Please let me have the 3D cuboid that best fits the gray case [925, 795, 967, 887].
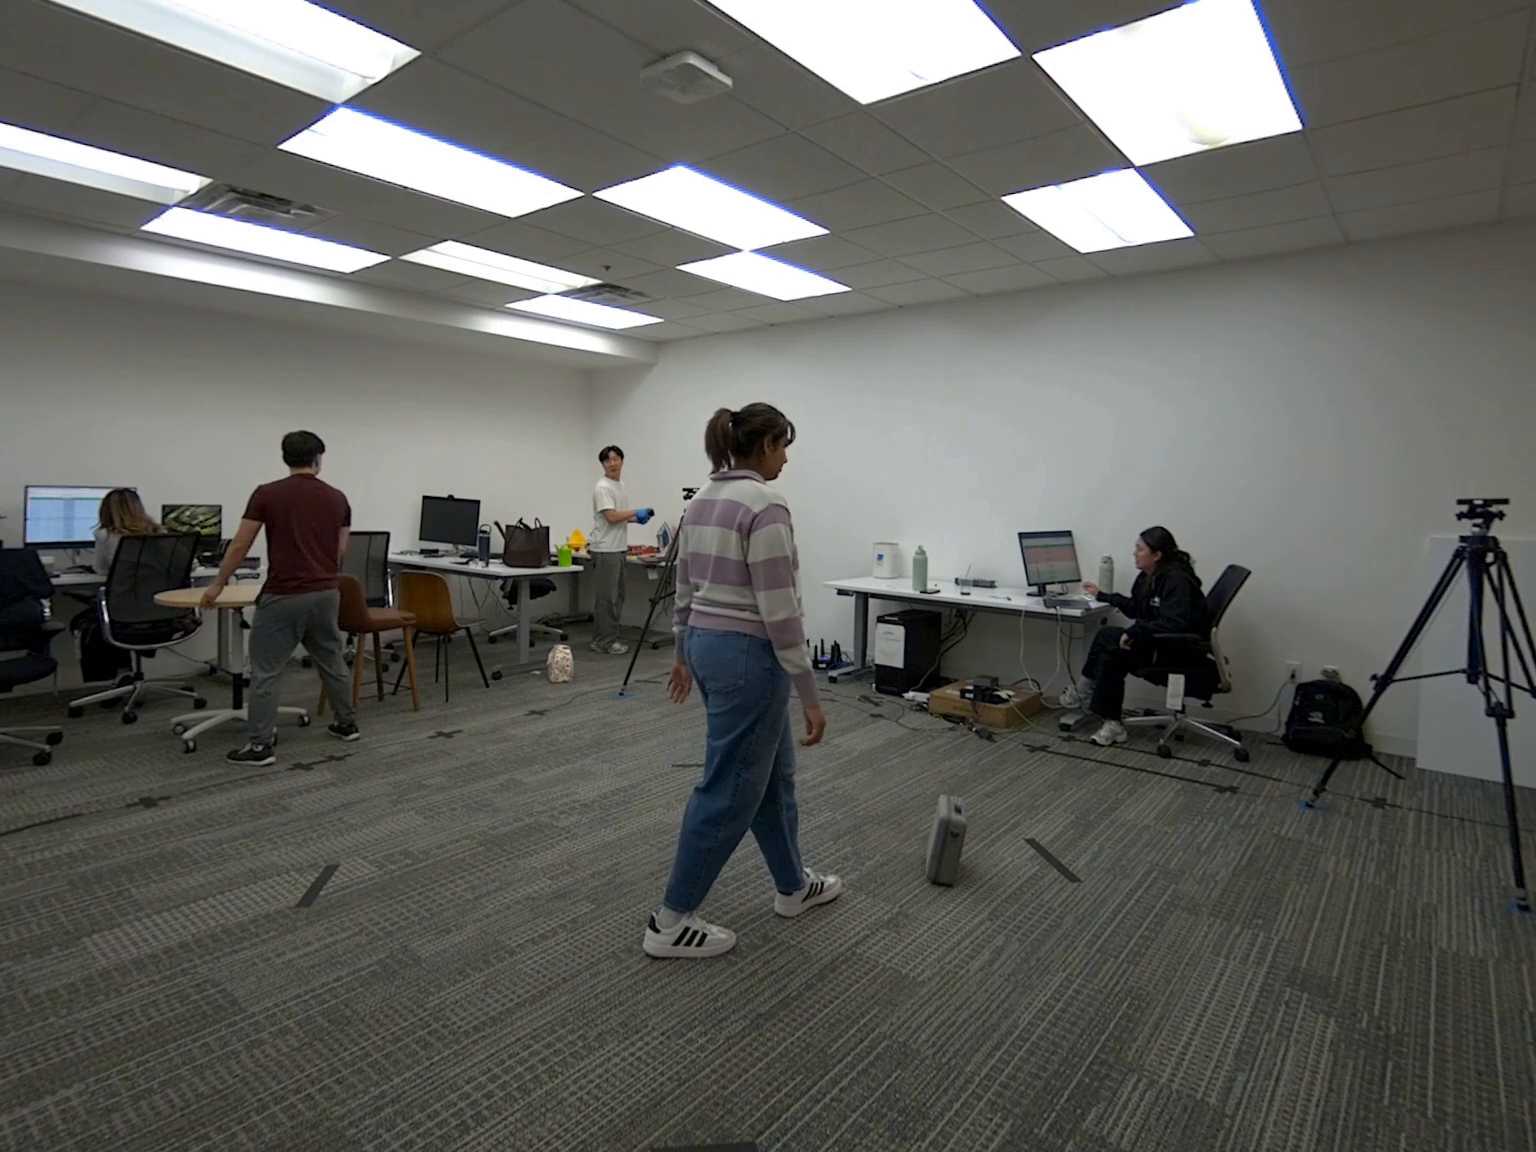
[{"bbox_3d":[0.646,0.948,3.128,0.106,0.259,0.254,9,8,11],"label":"gray case"}]
